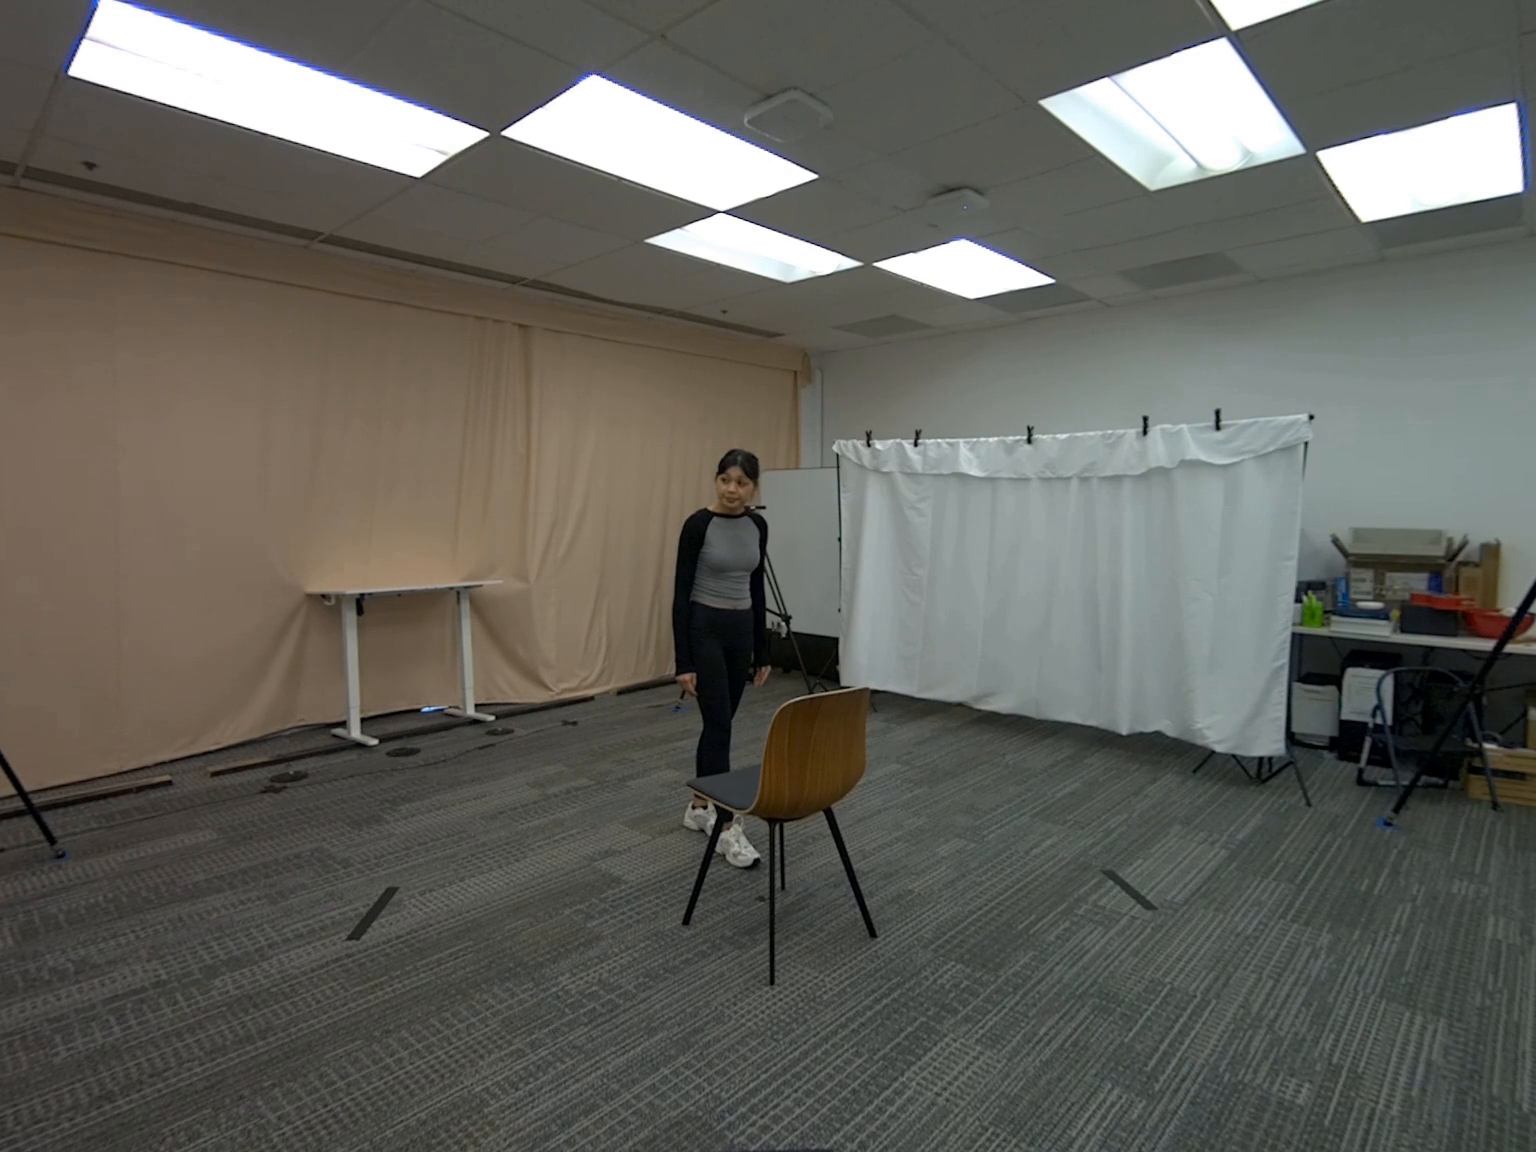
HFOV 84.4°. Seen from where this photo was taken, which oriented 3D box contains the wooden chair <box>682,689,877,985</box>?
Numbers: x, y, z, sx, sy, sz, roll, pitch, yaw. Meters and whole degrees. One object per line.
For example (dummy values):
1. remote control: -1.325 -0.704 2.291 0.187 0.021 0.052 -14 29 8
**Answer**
1. wooden chair: 0.029 0.738 2.730 0.464 0.874 0.541 -3 9 -40
